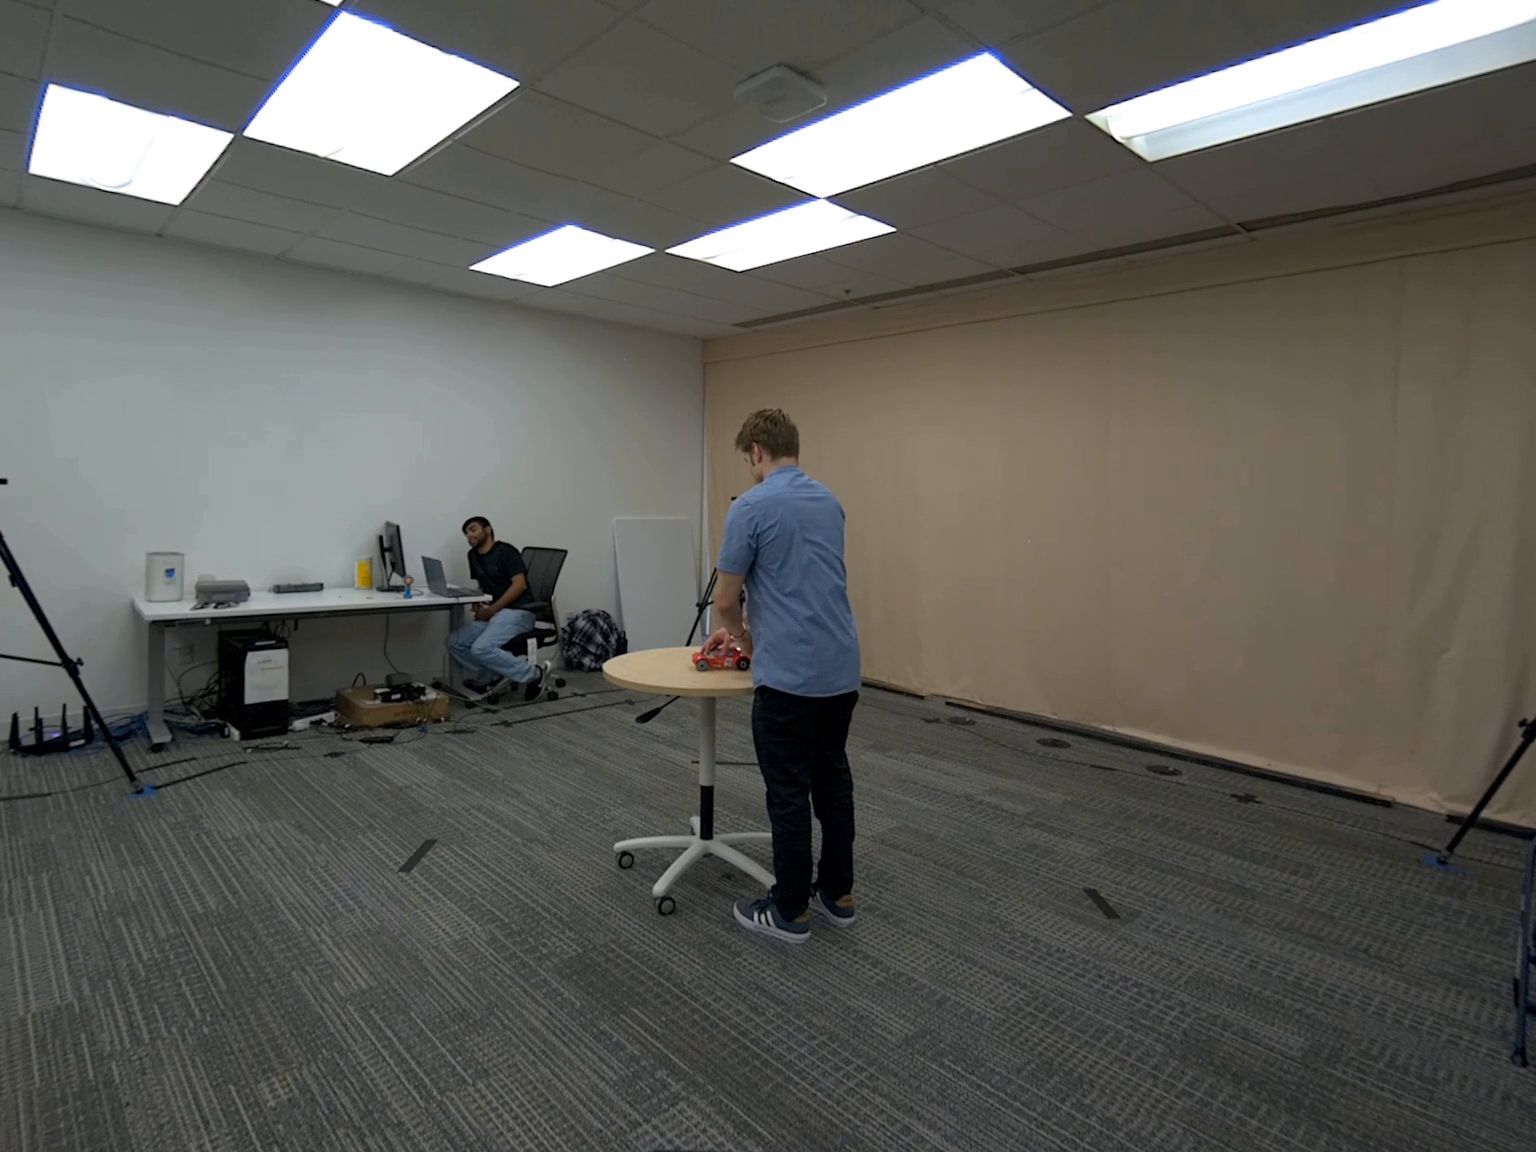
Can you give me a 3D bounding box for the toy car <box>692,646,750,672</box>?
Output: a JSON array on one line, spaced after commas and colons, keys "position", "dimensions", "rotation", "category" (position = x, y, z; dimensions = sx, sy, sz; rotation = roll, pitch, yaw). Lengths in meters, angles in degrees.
[{"position": [-0.150, 0.300, 3.015], "dimensions": [0.254, 0.083, 0.131], "rotation": [-12, 7, -5], "category": "toy car"}]
